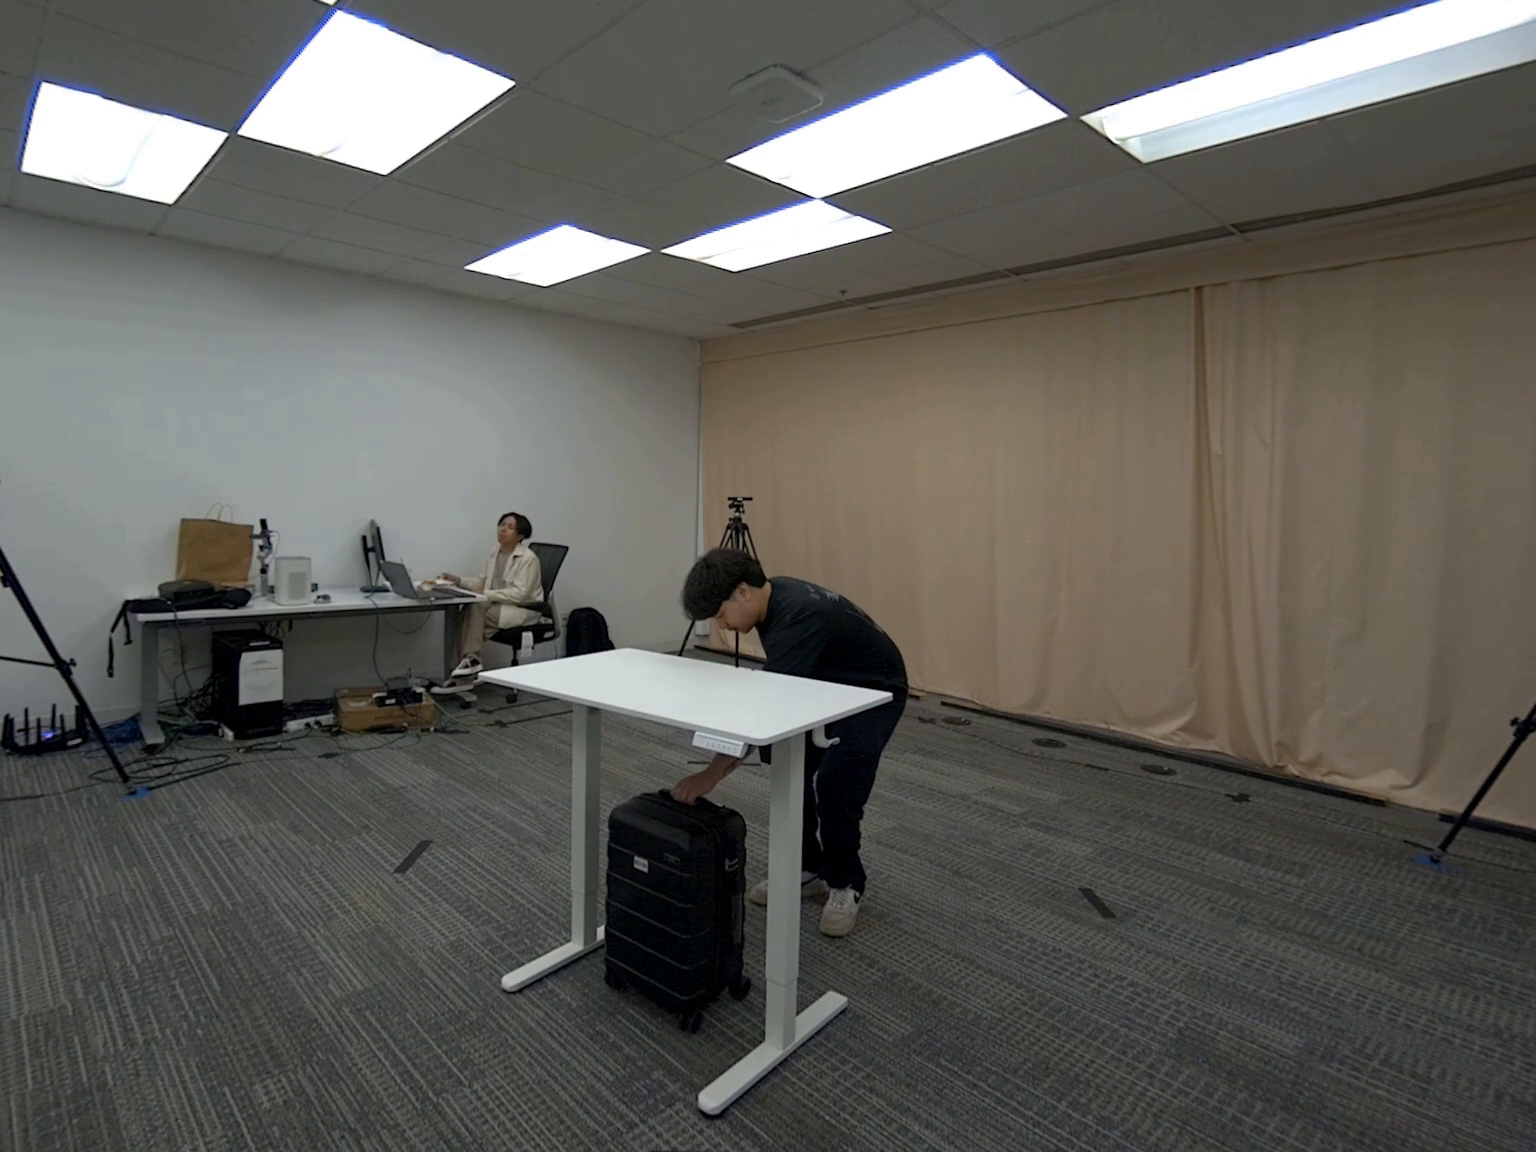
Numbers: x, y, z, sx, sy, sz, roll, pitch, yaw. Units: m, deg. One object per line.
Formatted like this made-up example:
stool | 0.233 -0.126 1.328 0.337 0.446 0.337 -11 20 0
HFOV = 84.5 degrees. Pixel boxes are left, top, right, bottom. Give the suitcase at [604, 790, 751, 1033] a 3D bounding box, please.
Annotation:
suitcase | -0.257 0.901 2.338 0.385 0.547 0.243 5 6 39
